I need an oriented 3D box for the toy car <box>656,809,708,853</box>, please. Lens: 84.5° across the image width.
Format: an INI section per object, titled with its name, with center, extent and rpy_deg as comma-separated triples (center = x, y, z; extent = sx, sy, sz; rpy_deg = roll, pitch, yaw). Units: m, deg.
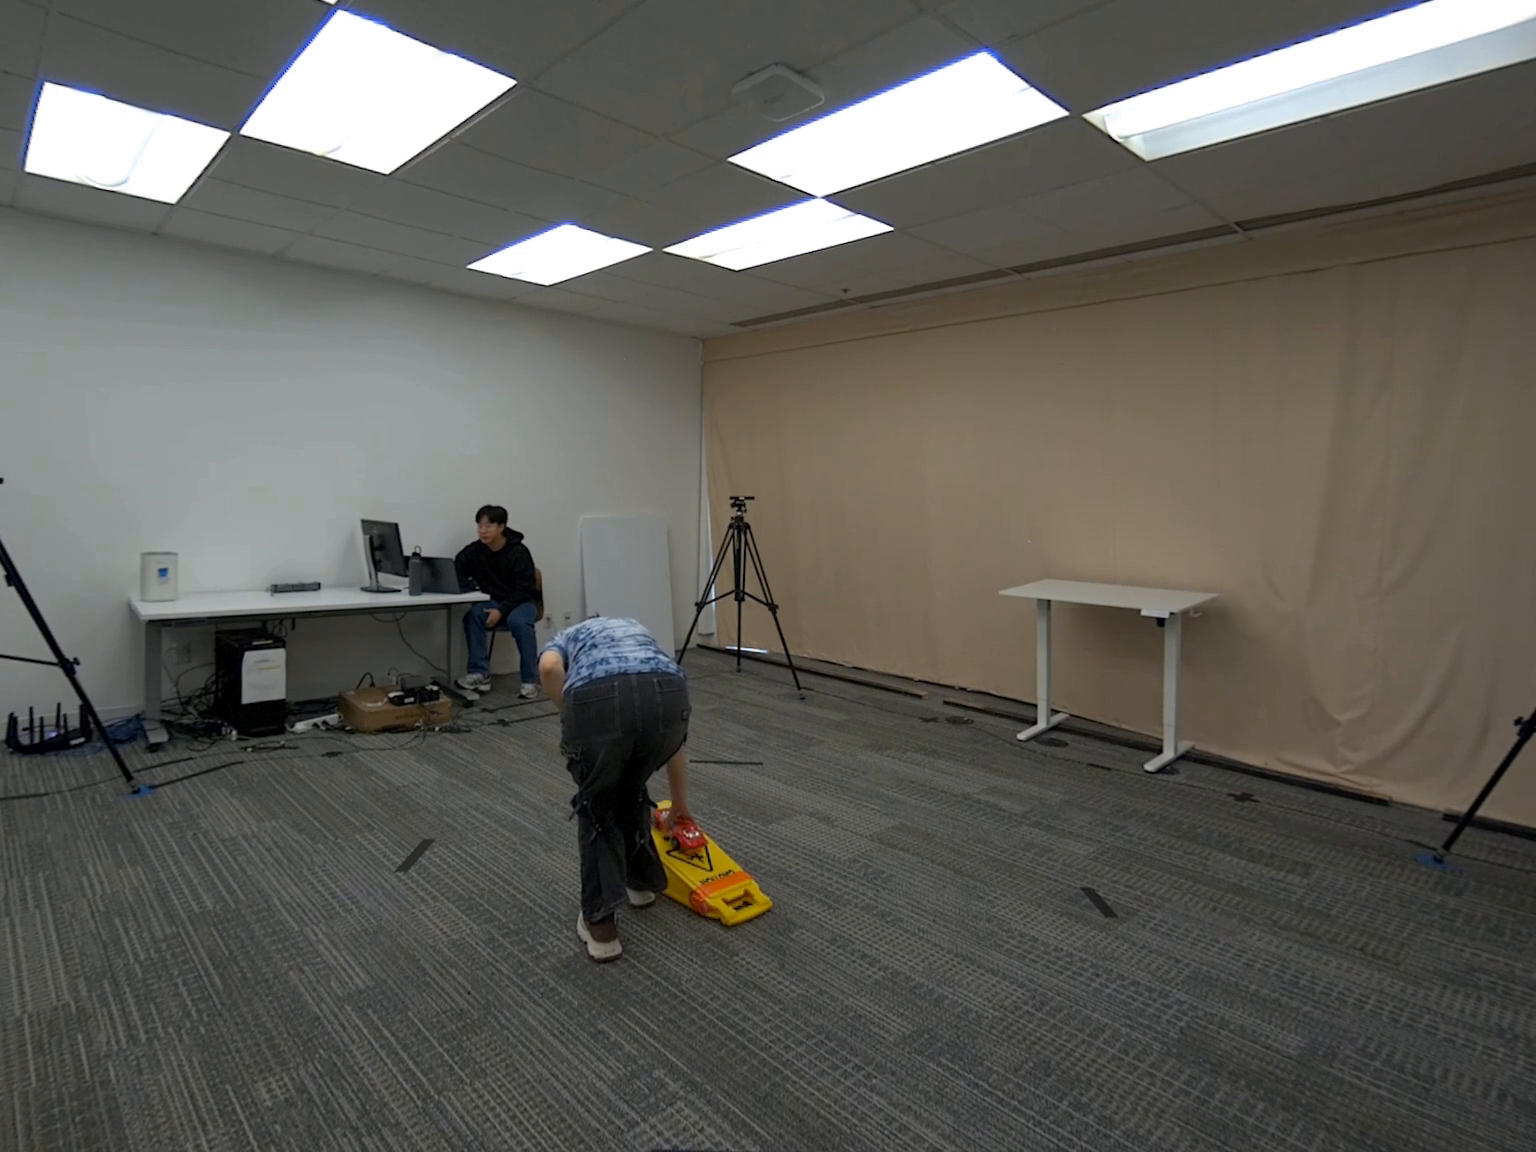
[toy car]
center = -0.327, 0.938, 3.057
extent = 0.127, 0.083, 0.262
rpy_deg = 1, 8, -40
